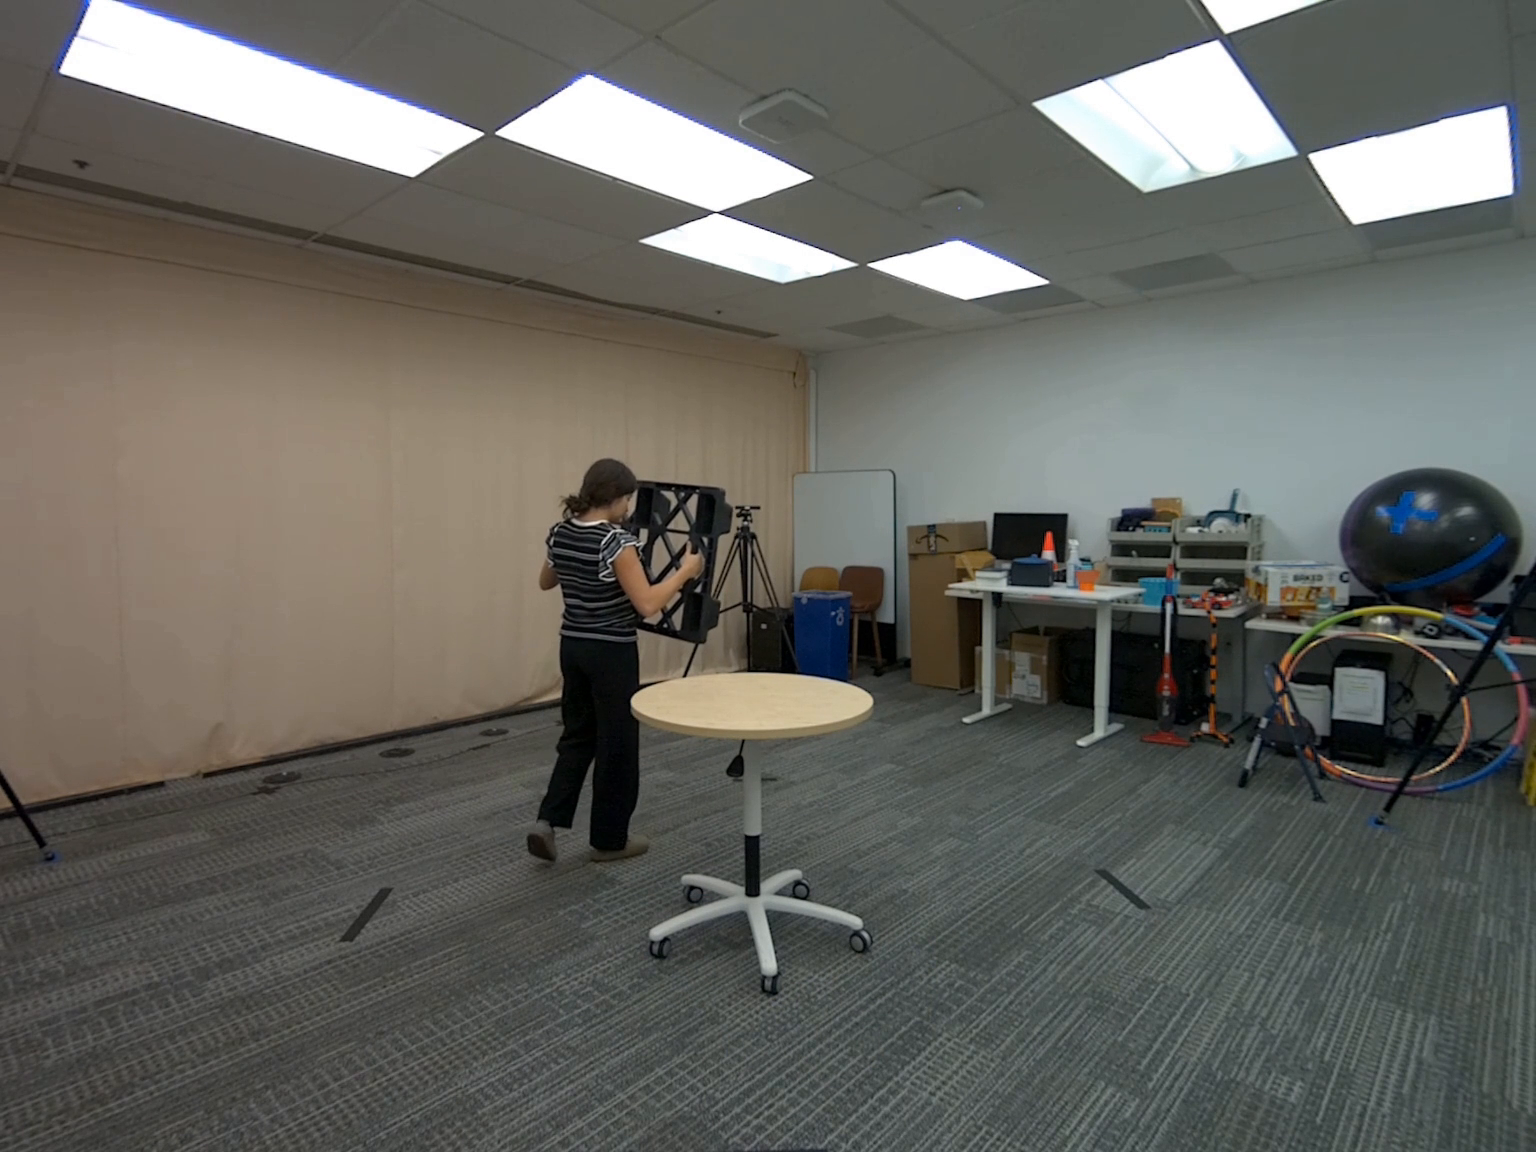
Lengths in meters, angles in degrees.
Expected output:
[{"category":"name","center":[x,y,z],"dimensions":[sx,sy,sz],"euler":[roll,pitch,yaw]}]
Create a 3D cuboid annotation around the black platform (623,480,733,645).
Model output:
[{"category":"black platform","center":[-0.491,-0.089,3.466],"dimensions":[0.833,0.605,0.138],"euler":[10,2,40]}]
